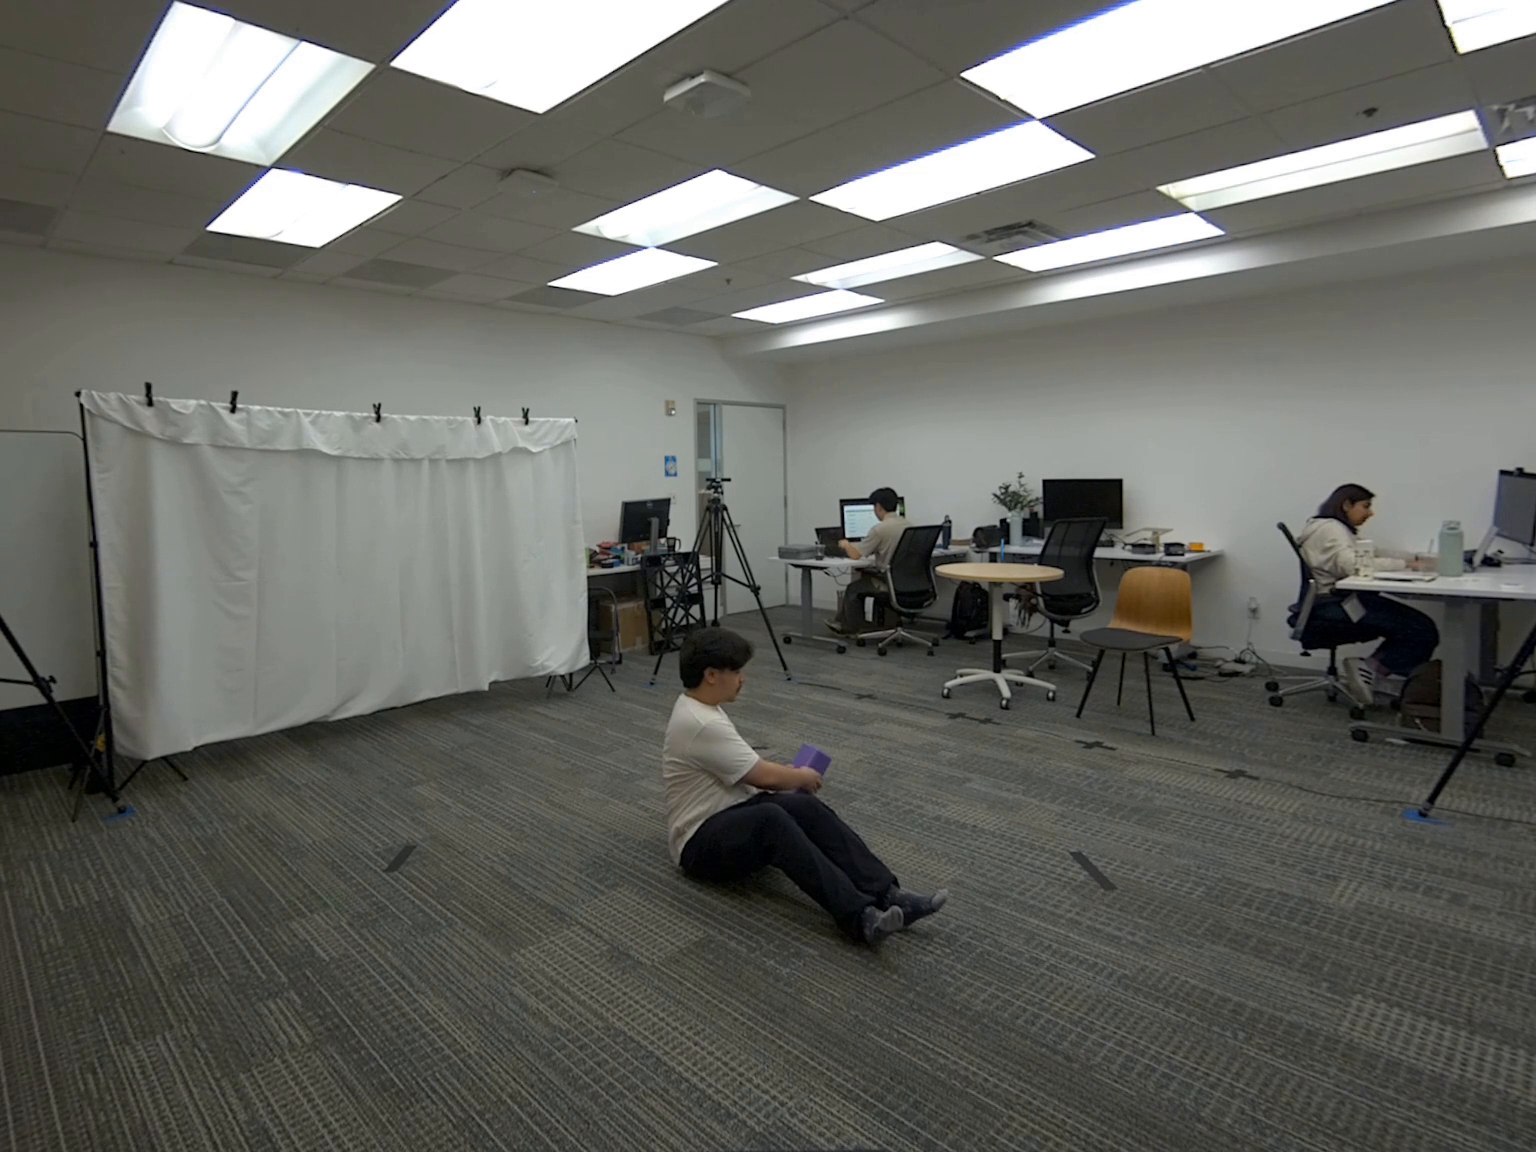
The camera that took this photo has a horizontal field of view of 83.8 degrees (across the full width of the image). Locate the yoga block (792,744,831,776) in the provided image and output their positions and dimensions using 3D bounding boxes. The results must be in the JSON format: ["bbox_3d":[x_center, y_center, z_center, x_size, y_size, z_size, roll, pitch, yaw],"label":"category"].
[{"bbox_3d":[0.148,0.789,3.362,0.074,0.230,0.152,35,-13,-20],"label":"yoga block"}]
